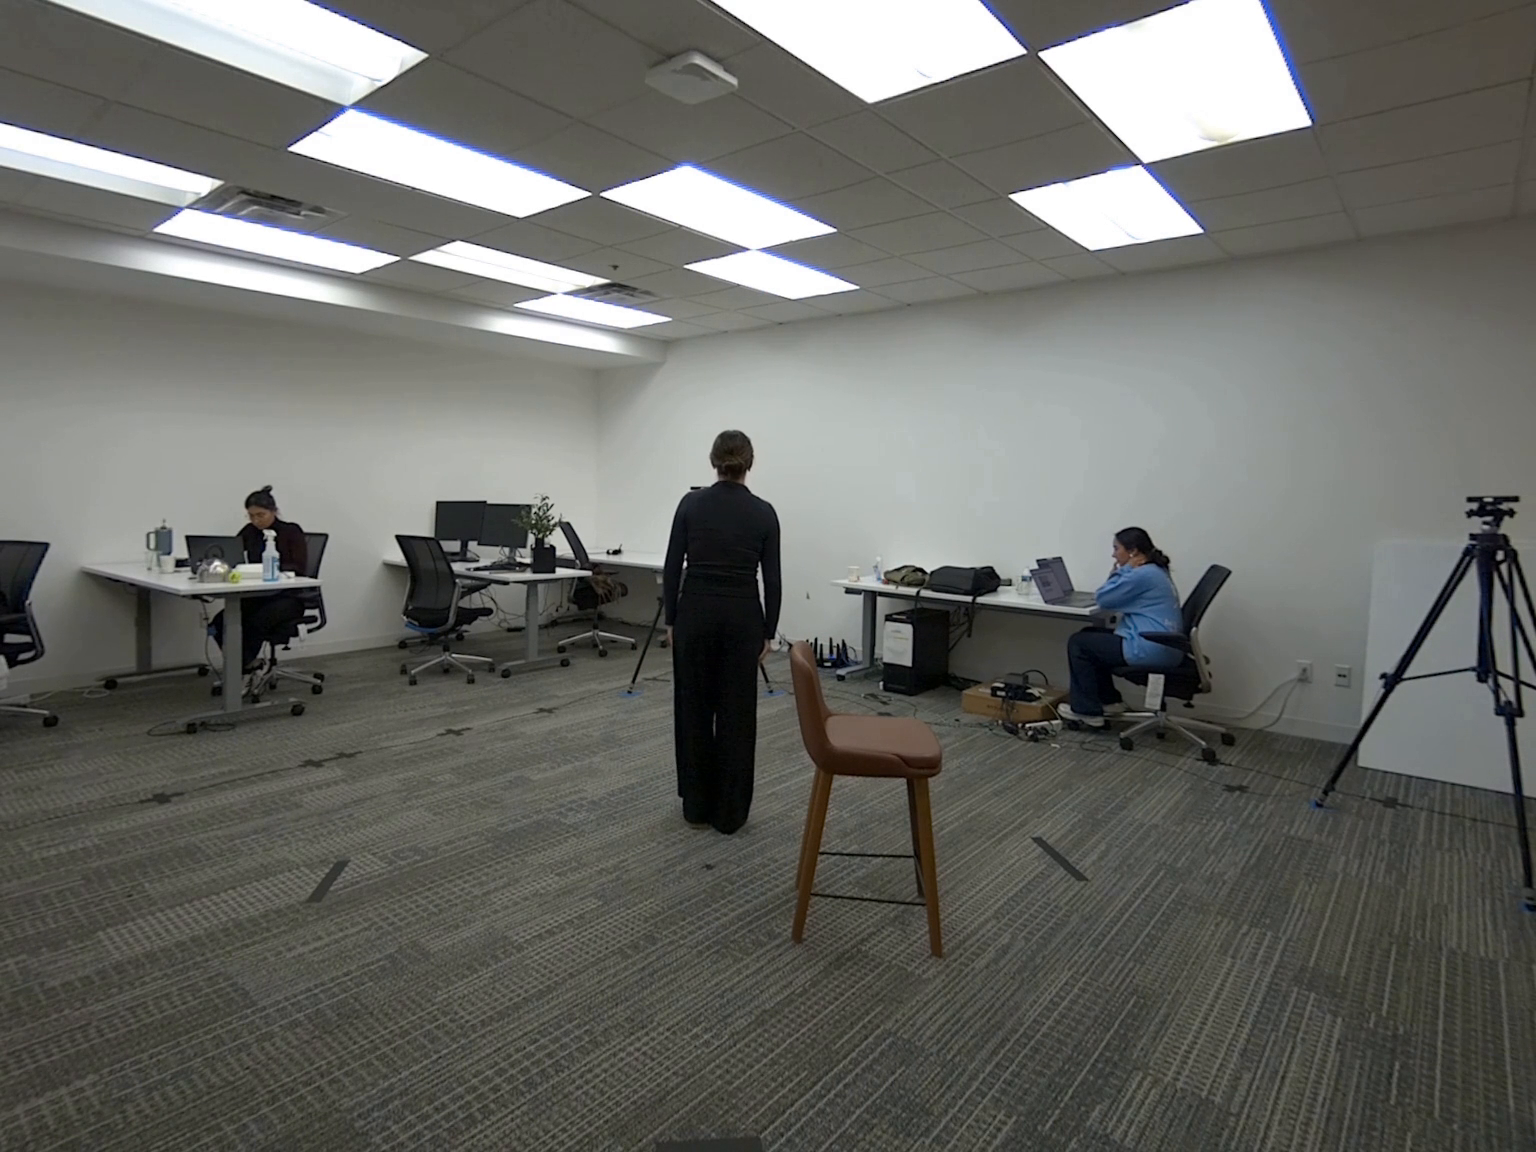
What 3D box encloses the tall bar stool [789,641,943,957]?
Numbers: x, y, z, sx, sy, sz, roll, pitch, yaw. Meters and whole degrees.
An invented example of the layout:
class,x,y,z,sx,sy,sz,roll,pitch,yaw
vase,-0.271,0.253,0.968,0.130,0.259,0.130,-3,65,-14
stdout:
class,x,y,z,sx,sy,sz,roll,pitch,yaw
tall bar stool,0.311,0.678,2.747,0.471,0.887,0.454,0,3,6
